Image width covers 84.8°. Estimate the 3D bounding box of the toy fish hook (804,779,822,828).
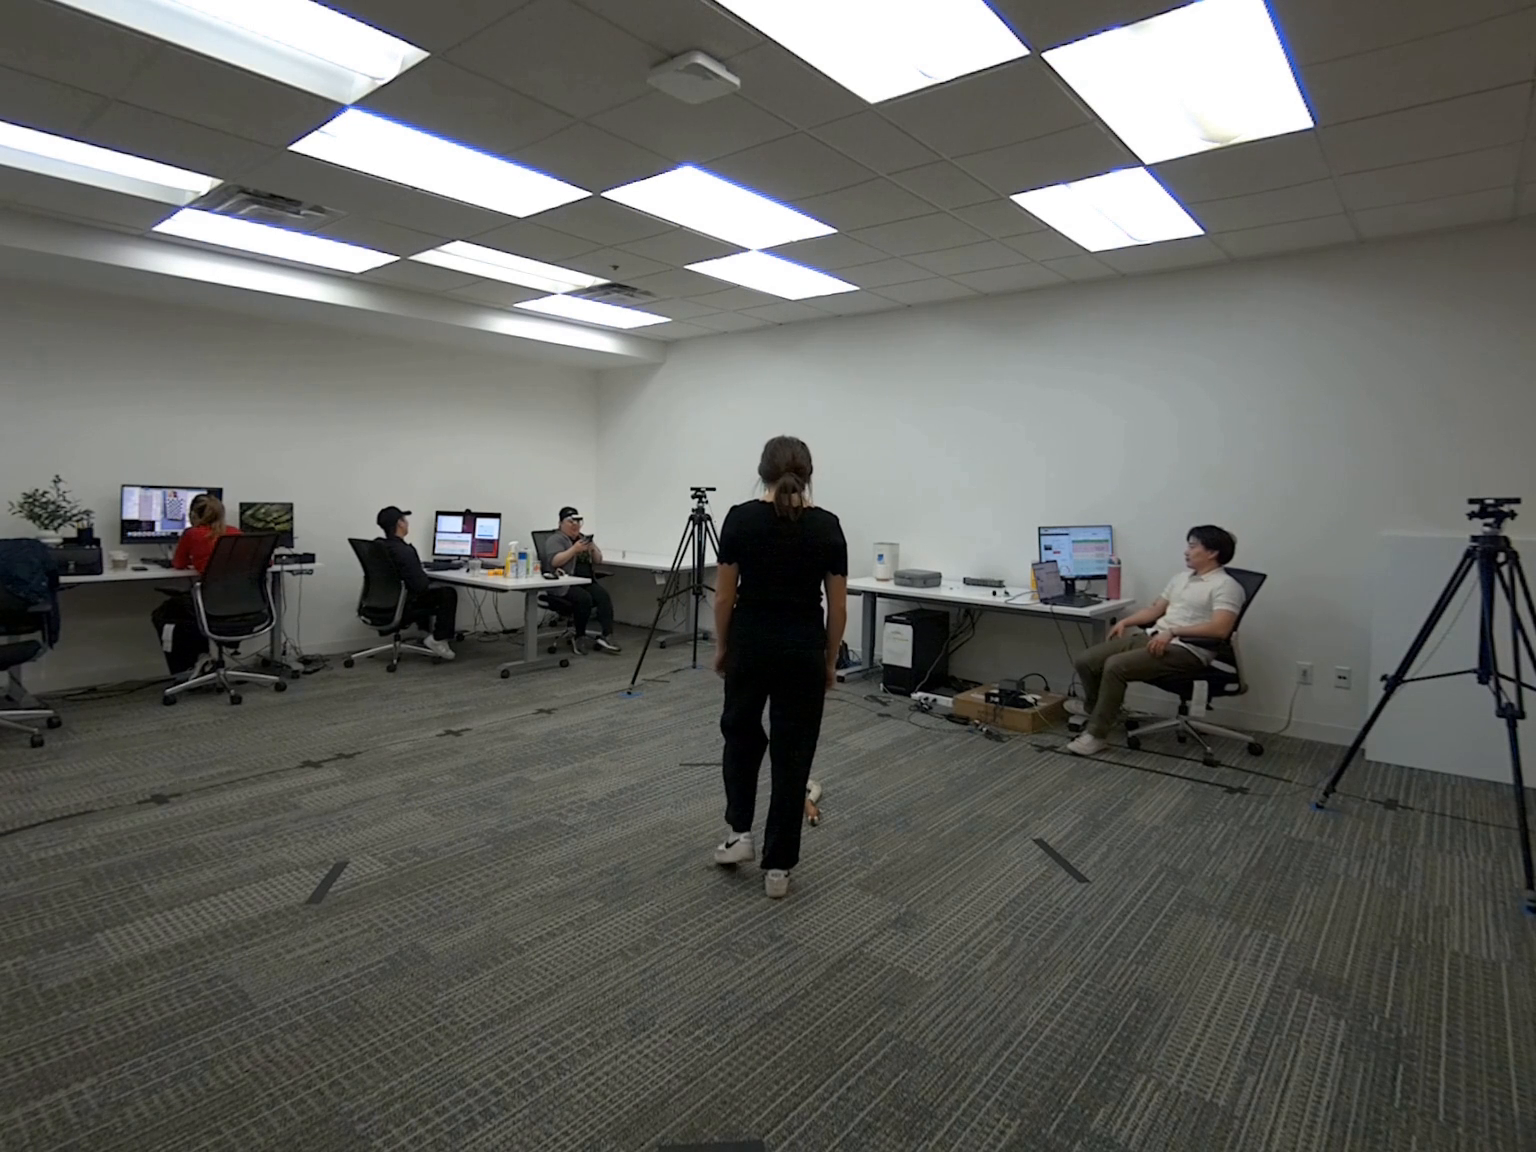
[{"bbox_3d":[0.126,0.990,3.770,0.225,0.048,0.508,-5,5,0],"label":"toy fish hook"}]
